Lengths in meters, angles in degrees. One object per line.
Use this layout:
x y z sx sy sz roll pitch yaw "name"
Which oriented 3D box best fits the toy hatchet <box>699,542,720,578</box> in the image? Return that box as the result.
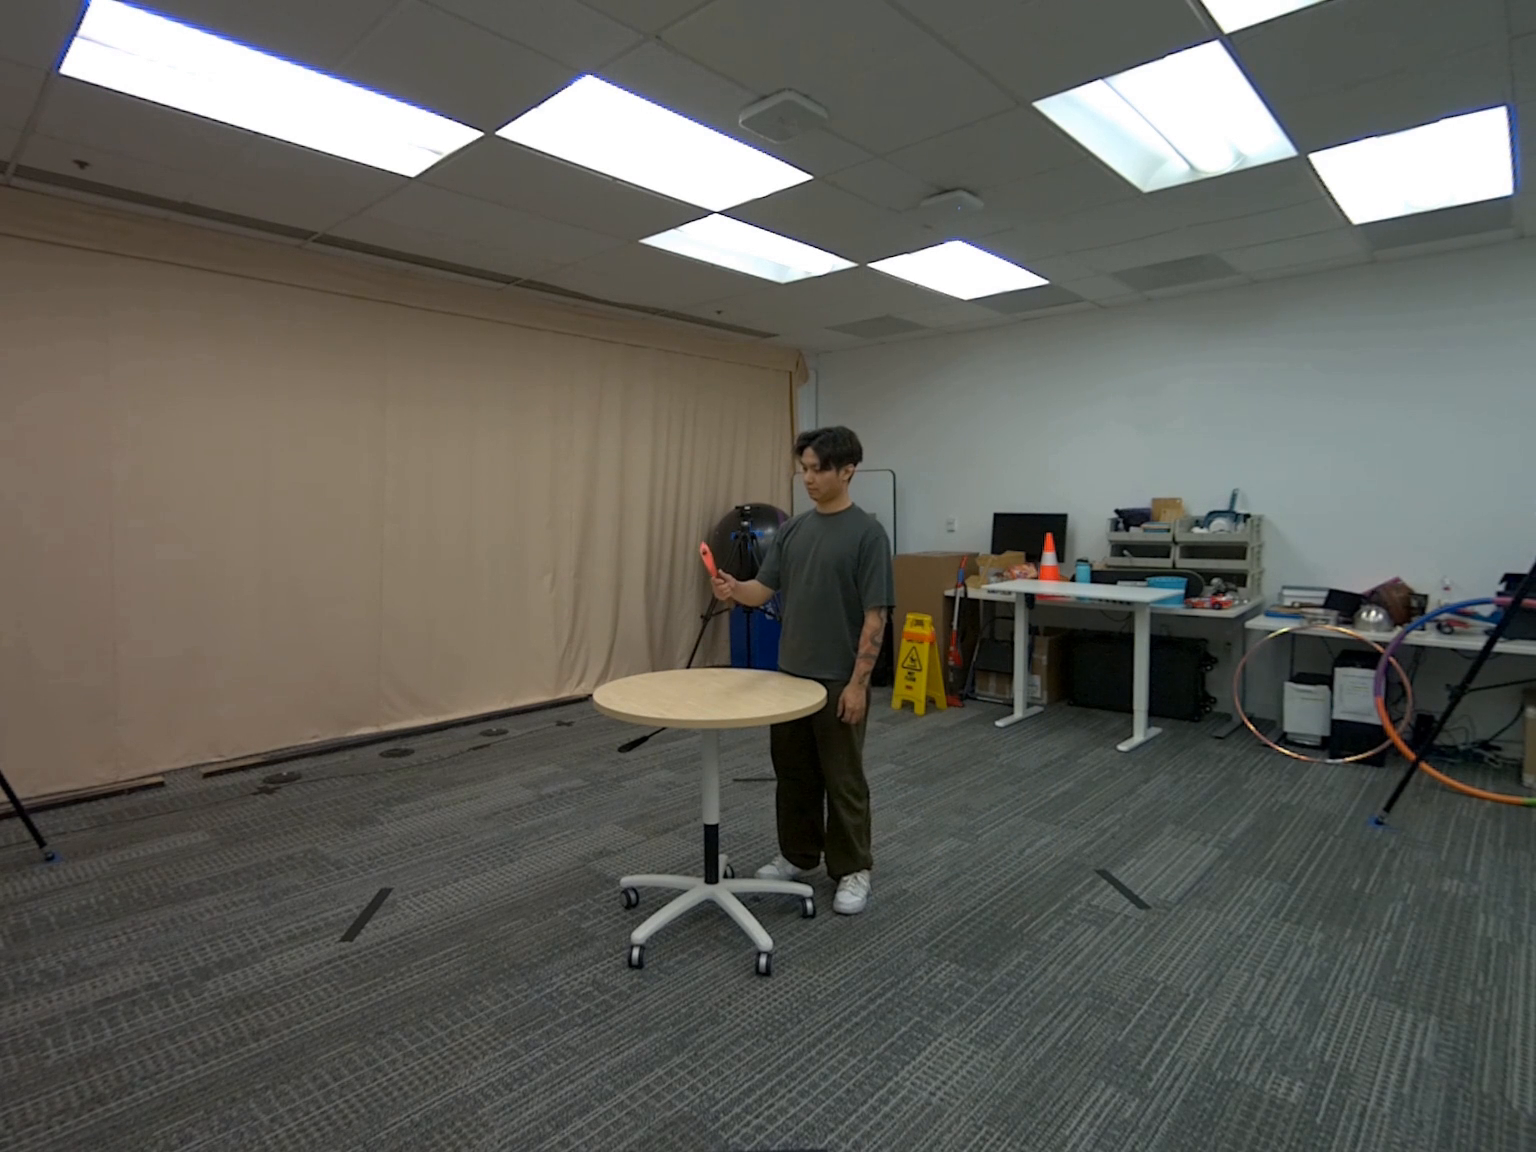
-0.156 0.023 2.778 0.030 0.263 0.134 -22 27 4 "toy hatchet"
